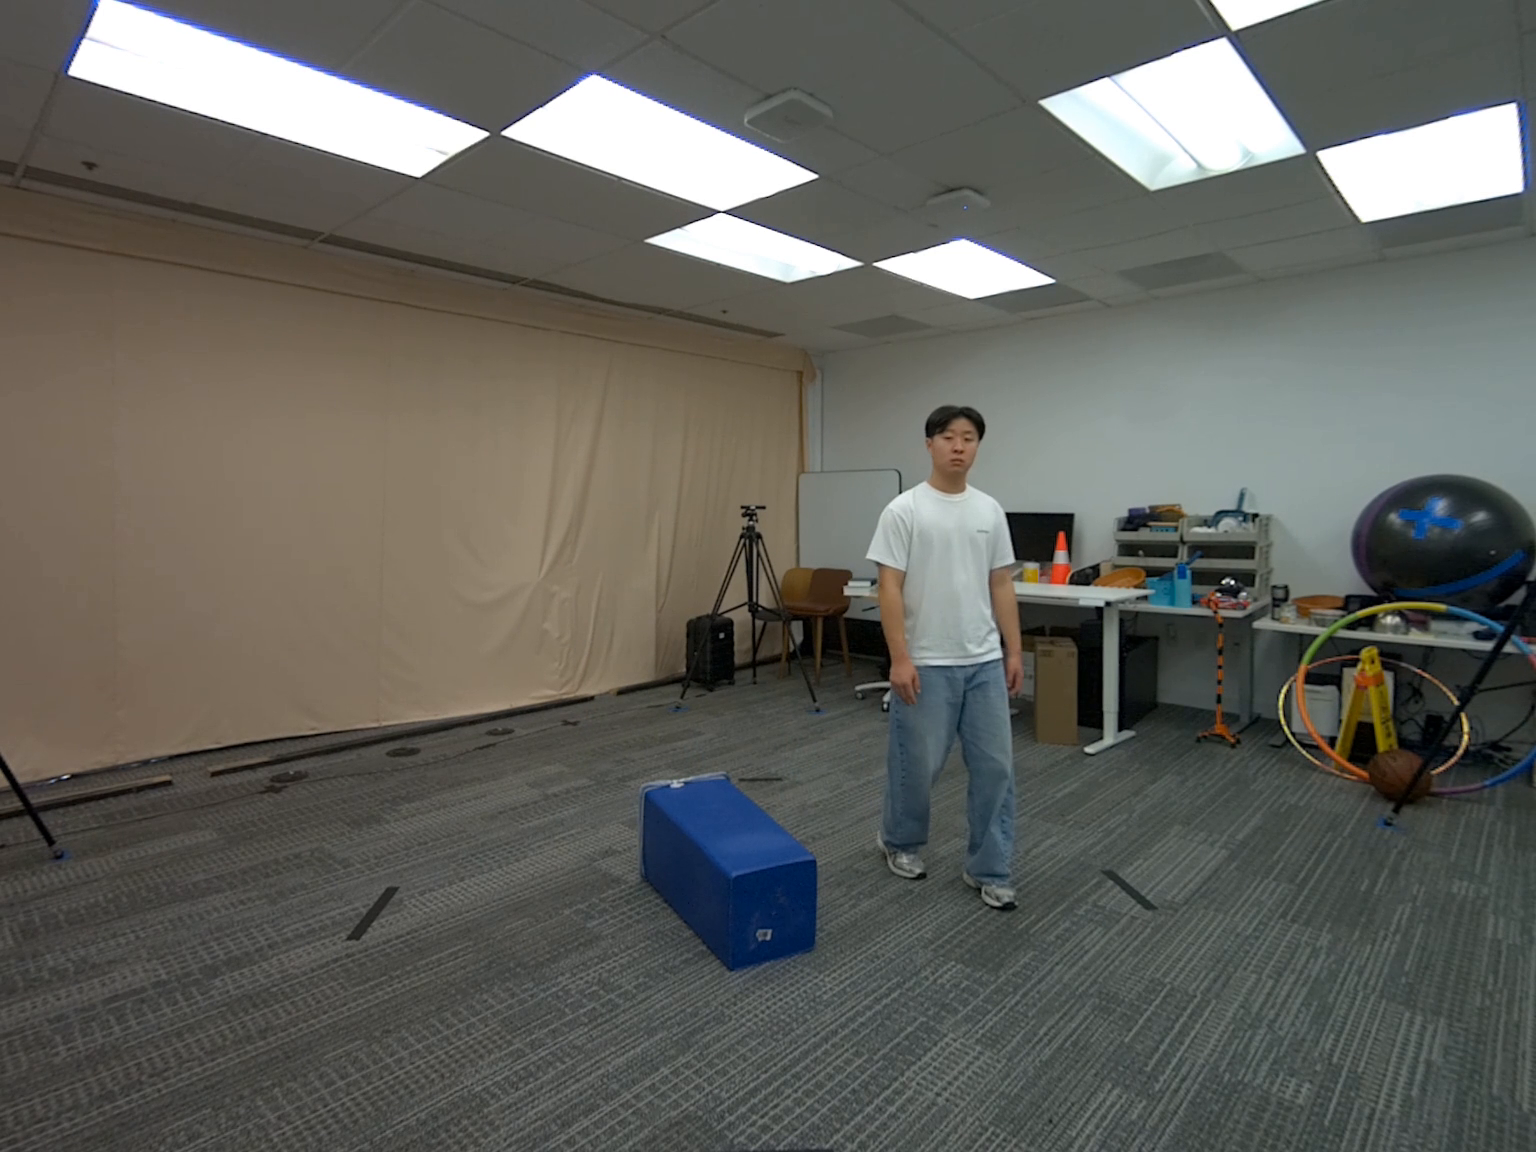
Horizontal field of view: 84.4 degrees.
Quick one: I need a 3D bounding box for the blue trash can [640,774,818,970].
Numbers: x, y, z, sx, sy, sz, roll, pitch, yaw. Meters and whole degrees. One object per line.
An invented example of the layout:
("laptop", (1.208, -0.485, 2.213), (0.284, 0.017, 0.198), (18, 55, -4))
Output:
("blue trash can", (-0.140, 0.990, 2.882), (0.364, 0.377, 0.734), (-2, 7, -28))
